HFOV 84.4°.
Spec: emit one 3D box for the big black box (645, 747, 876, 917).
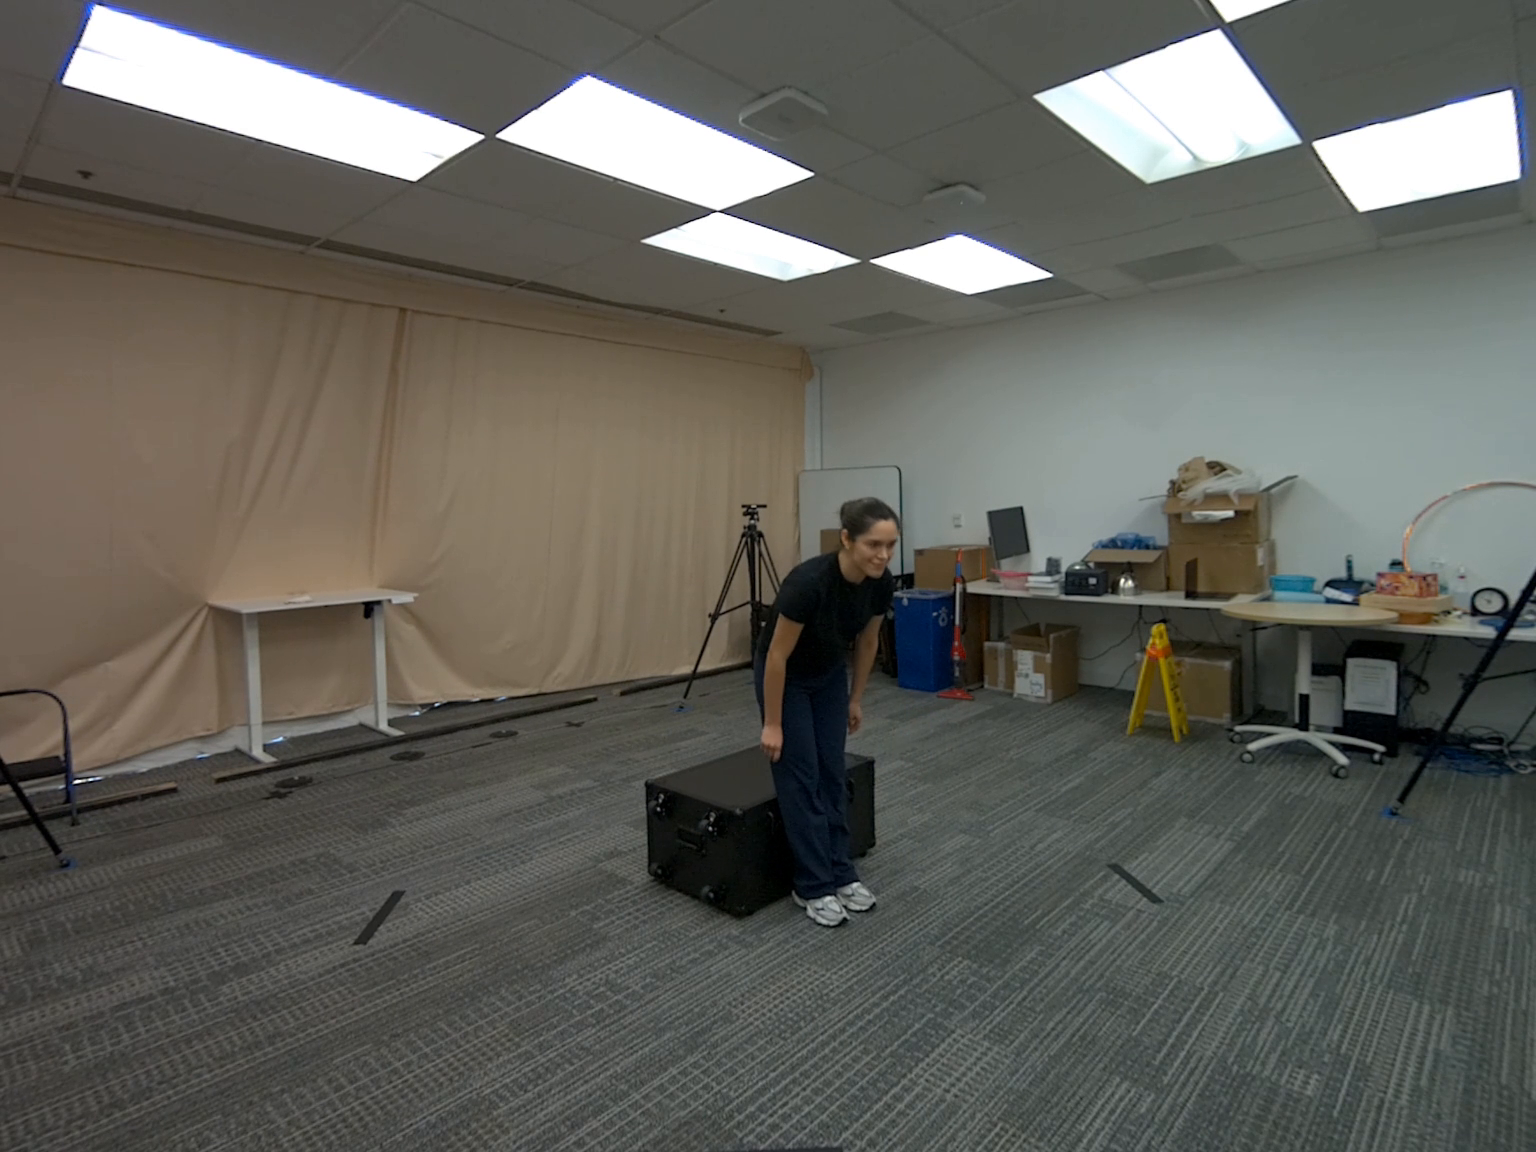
[{"bbox_3d":[-0.024,0.929,3.217,0.538,0.395,0.835,2,5,43],"label":"big black box"}]
